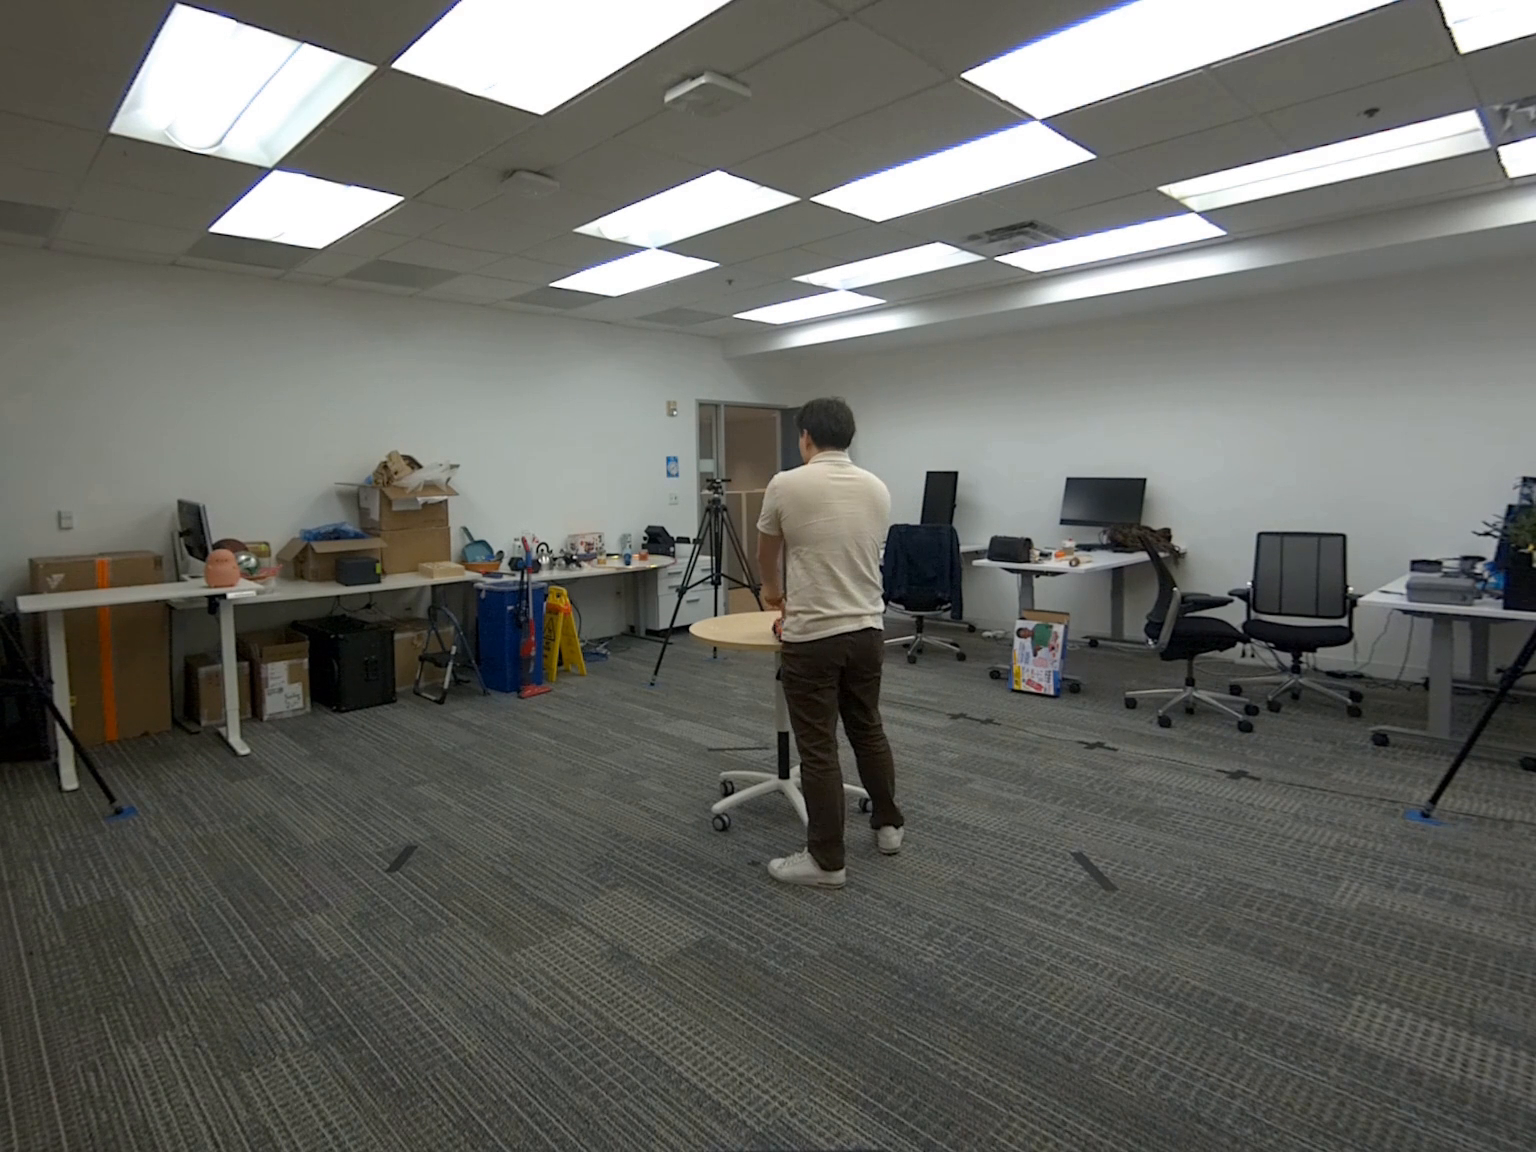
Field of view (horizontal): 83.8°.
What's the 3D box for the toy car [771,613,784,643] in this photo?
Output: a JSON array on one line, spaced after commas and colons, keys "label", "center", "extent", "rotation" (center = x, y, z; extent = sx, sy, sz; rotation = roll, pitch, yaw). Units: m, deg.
[{"label": "toy car", "center": [0.099, 0.204, 3.314], "extent": [0.129, 0.082, 0.260], "rotation": [-2, 18, -7]}]
